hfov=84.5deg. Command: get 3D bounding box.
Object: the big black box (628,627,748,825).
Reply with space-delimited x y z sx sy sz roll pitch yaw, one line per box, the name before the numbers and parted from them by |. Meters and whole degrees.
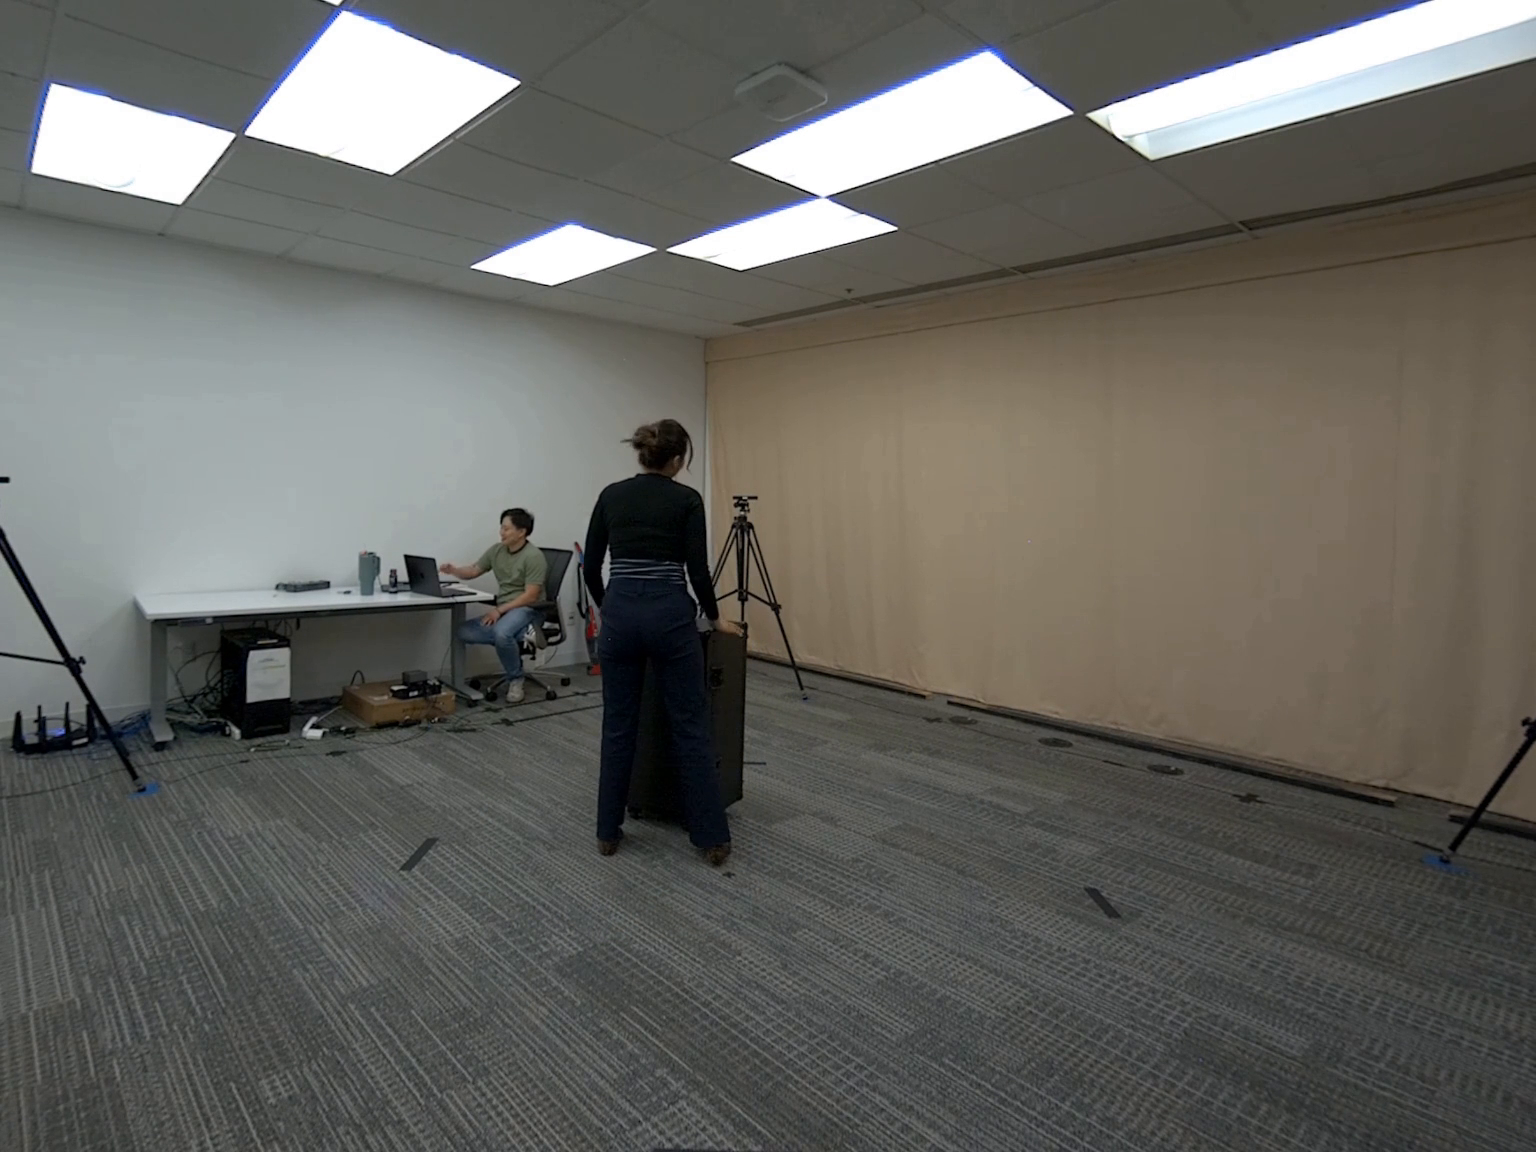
big black box | -0.396 0.625 3.676 0.532 0.860 0.389 3 3 27
